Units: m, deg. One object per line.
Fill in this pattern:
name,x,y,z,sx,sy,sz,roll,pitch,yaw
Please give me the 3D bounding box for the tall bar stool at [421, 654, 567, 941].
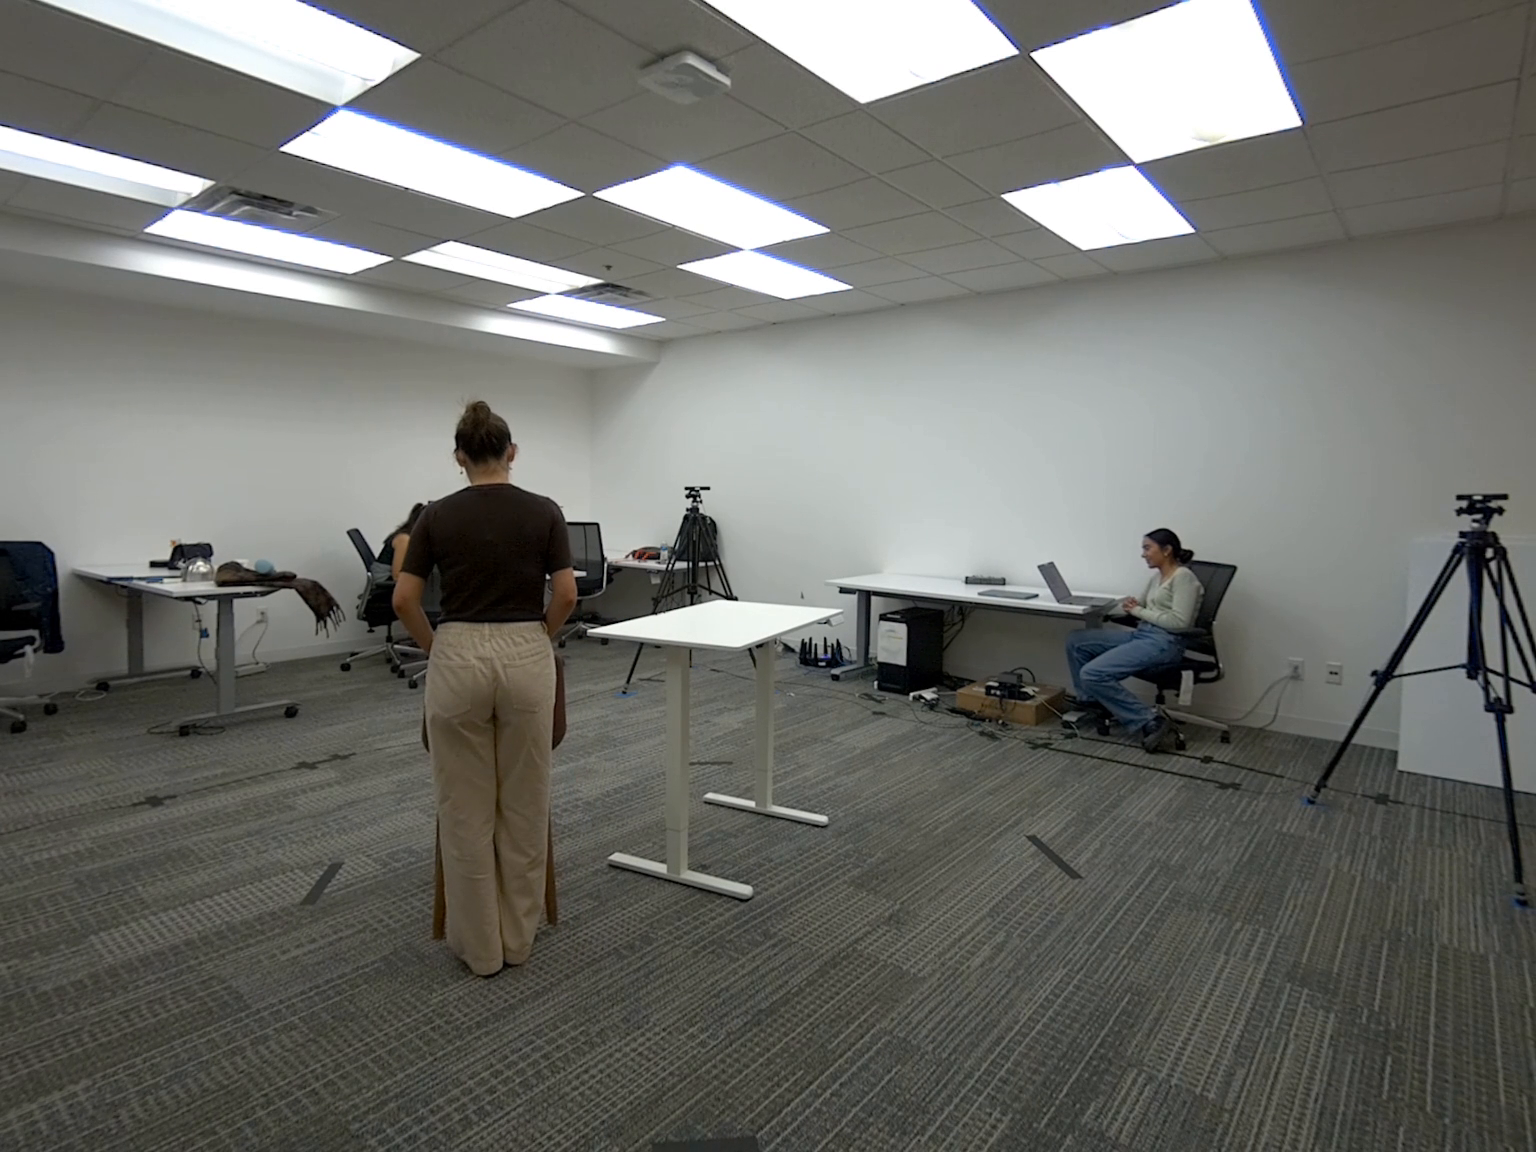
tall bar stool,-0.918,0.649,2.828,0.449,0.885,0.478,-2,6,-16
